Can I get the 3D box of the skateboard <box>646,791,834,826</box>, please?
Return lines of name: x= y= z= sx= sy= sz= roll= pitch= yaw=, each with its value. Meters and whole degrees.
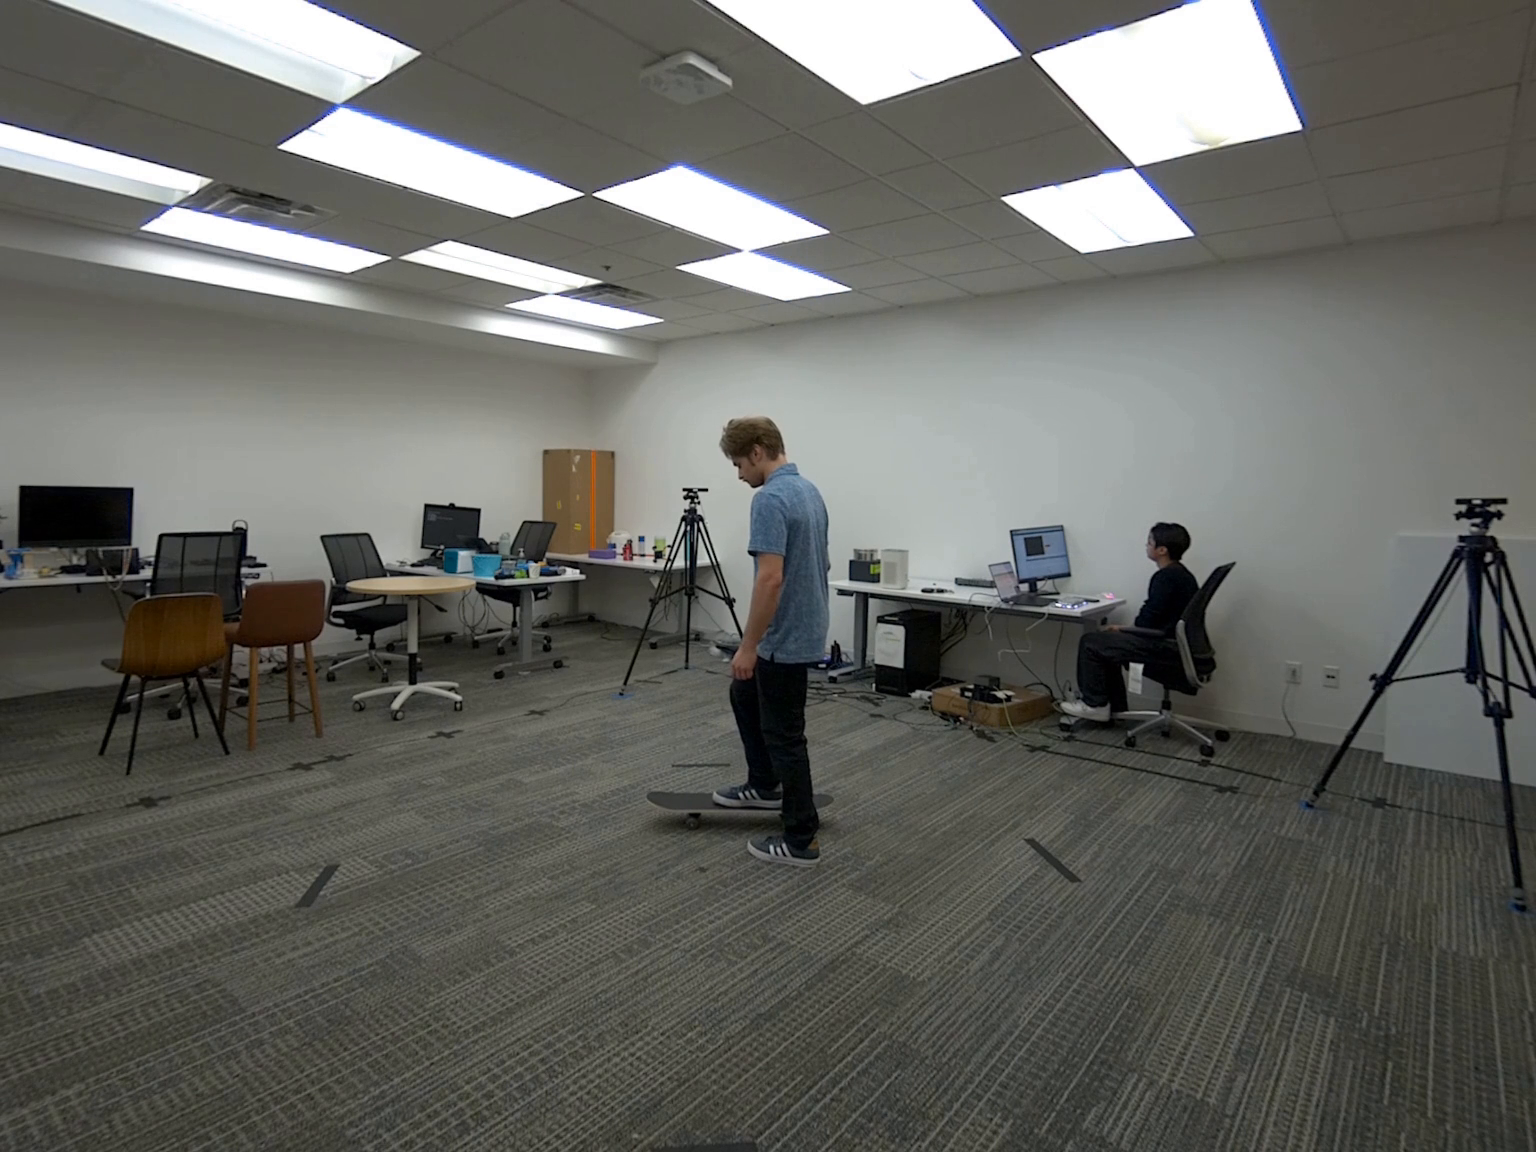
skateboard: x=-0.127 y=0.966 z=3.545 sx=0.785 sy=0.110 sz=0.195 roll=1 pitch=7 yaw=-1
